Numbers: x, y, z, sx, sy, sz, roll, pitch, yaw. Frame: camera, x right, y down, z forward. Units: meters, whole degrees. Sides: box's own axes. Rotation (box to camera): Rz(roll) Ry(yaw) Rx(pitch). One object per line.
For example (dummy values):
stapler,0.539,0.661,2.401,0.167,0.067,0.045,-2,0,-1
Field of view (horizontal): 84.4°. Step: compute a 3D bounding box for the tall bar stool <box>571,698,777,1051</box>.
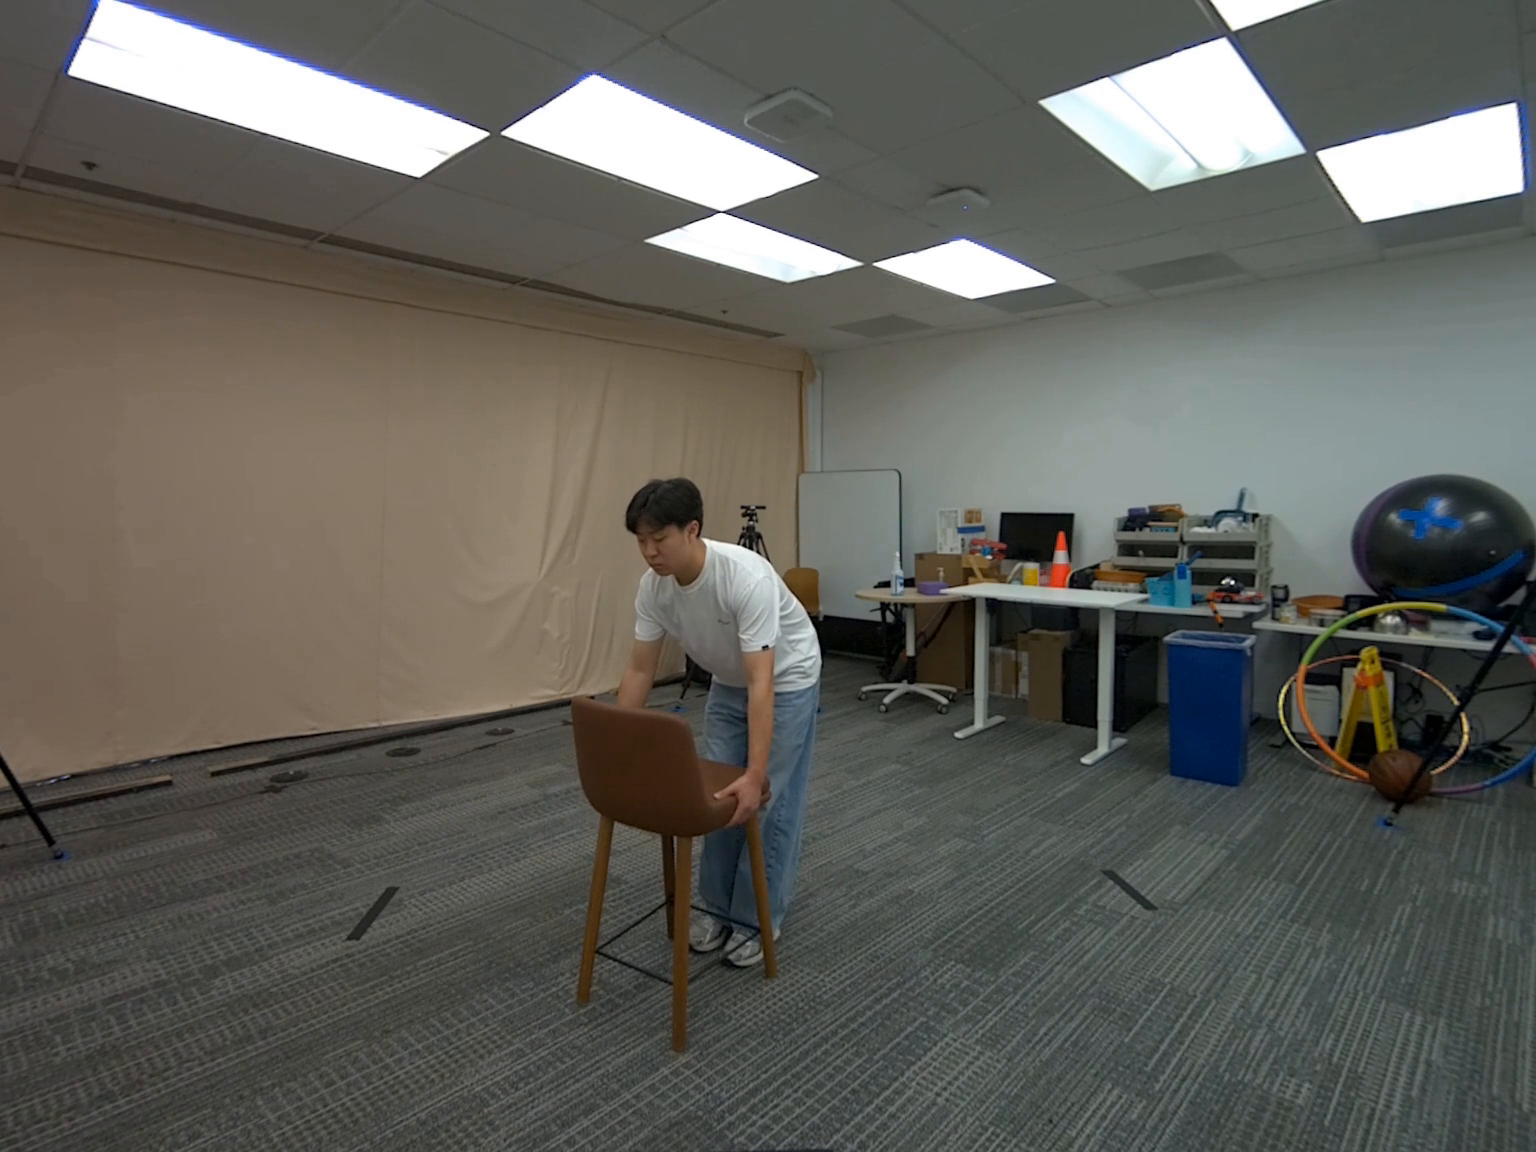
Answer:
tall bar stool,-0.270,0.755,2.402,0.471,0.887,0.454,2,6,35
